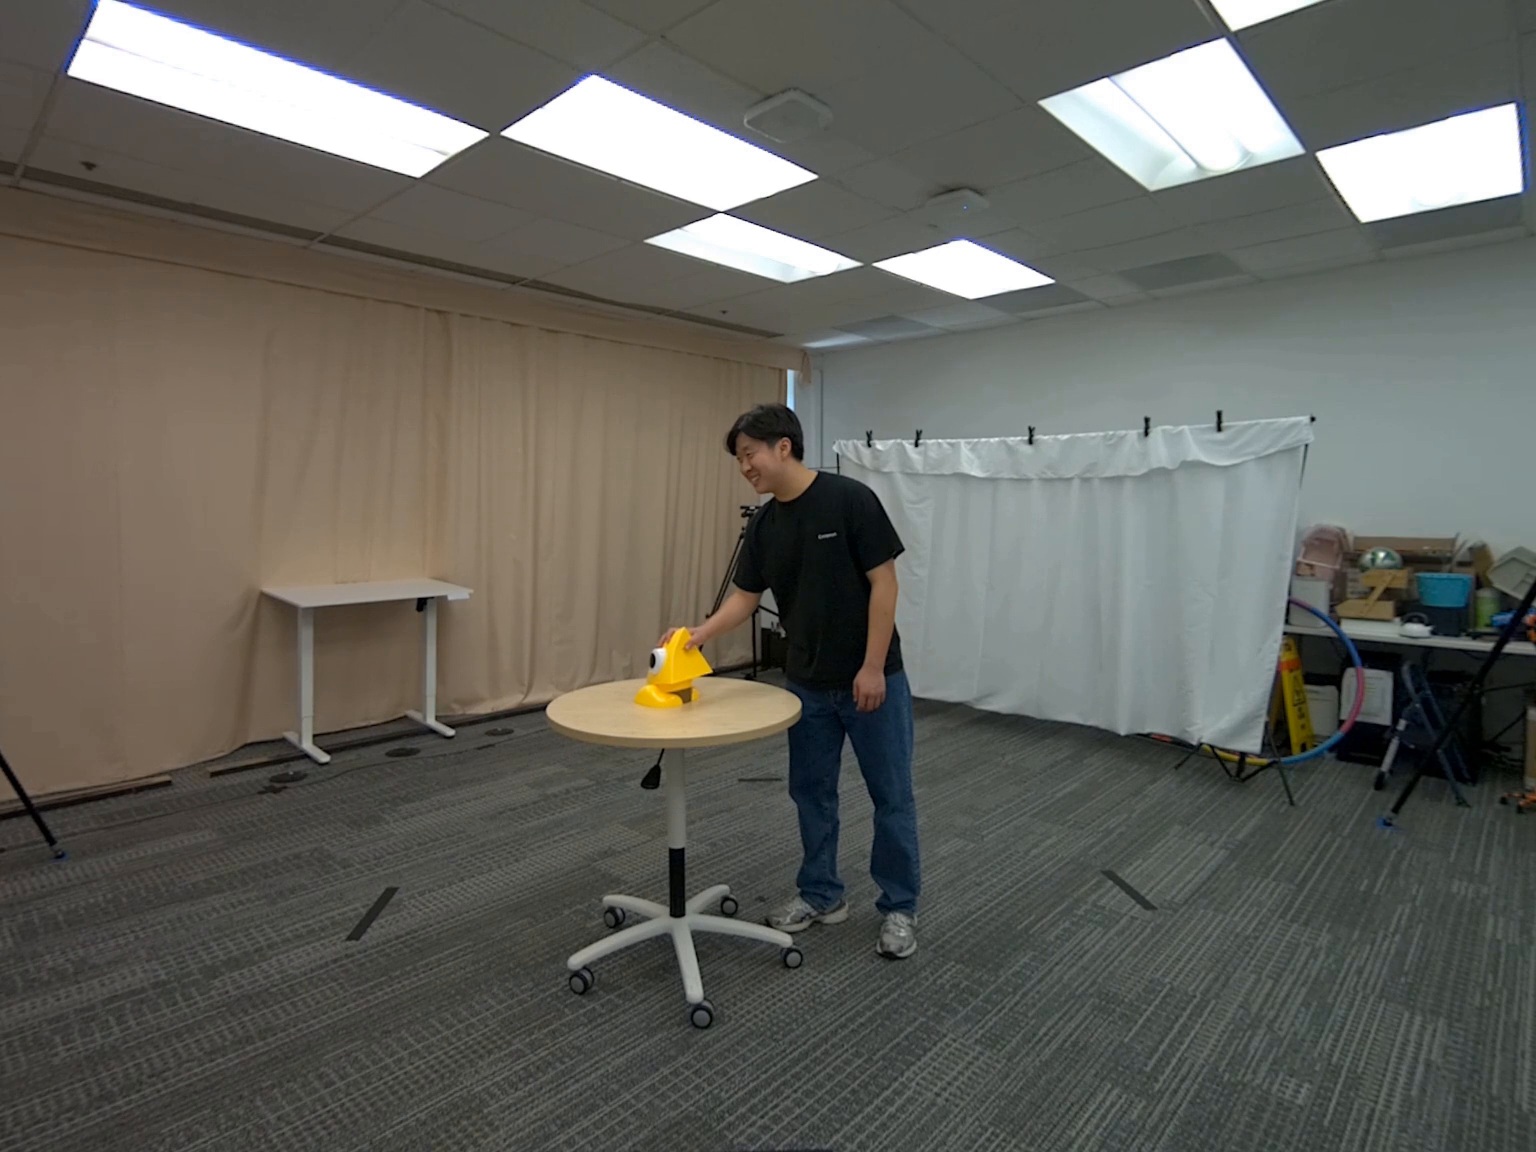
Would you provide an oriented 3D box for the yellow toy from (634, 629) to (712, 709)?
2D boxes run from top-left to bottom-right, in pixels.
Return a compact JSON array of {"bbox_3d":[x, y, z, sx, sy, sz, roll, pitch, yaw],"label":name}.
[{"bbox_3d":[-0.301,0.272,2.589,0.199,0.230,0.199,2,5,35],"label":"yellow toy"}]
